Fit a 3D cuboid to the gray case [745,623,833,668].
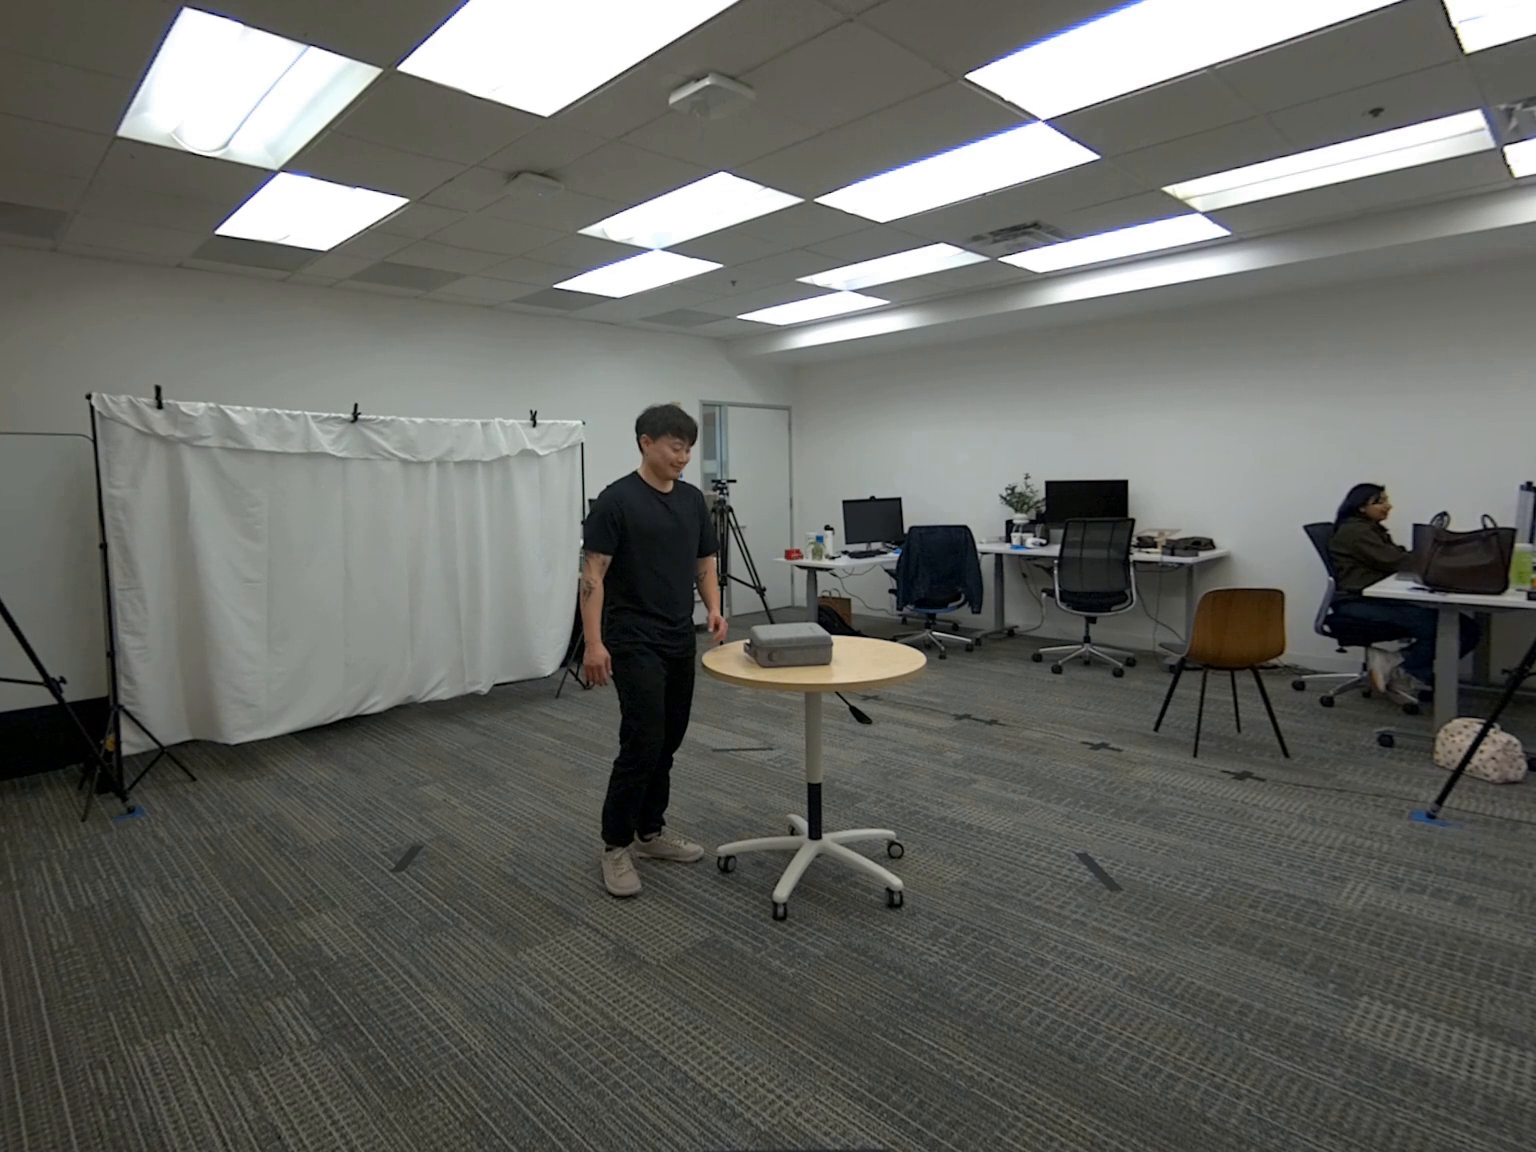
[{"bbox_3d":[0.063,0.234,2.904,0.259,0.104,0.260,-3,8,-7],"label":"gray case"}]
